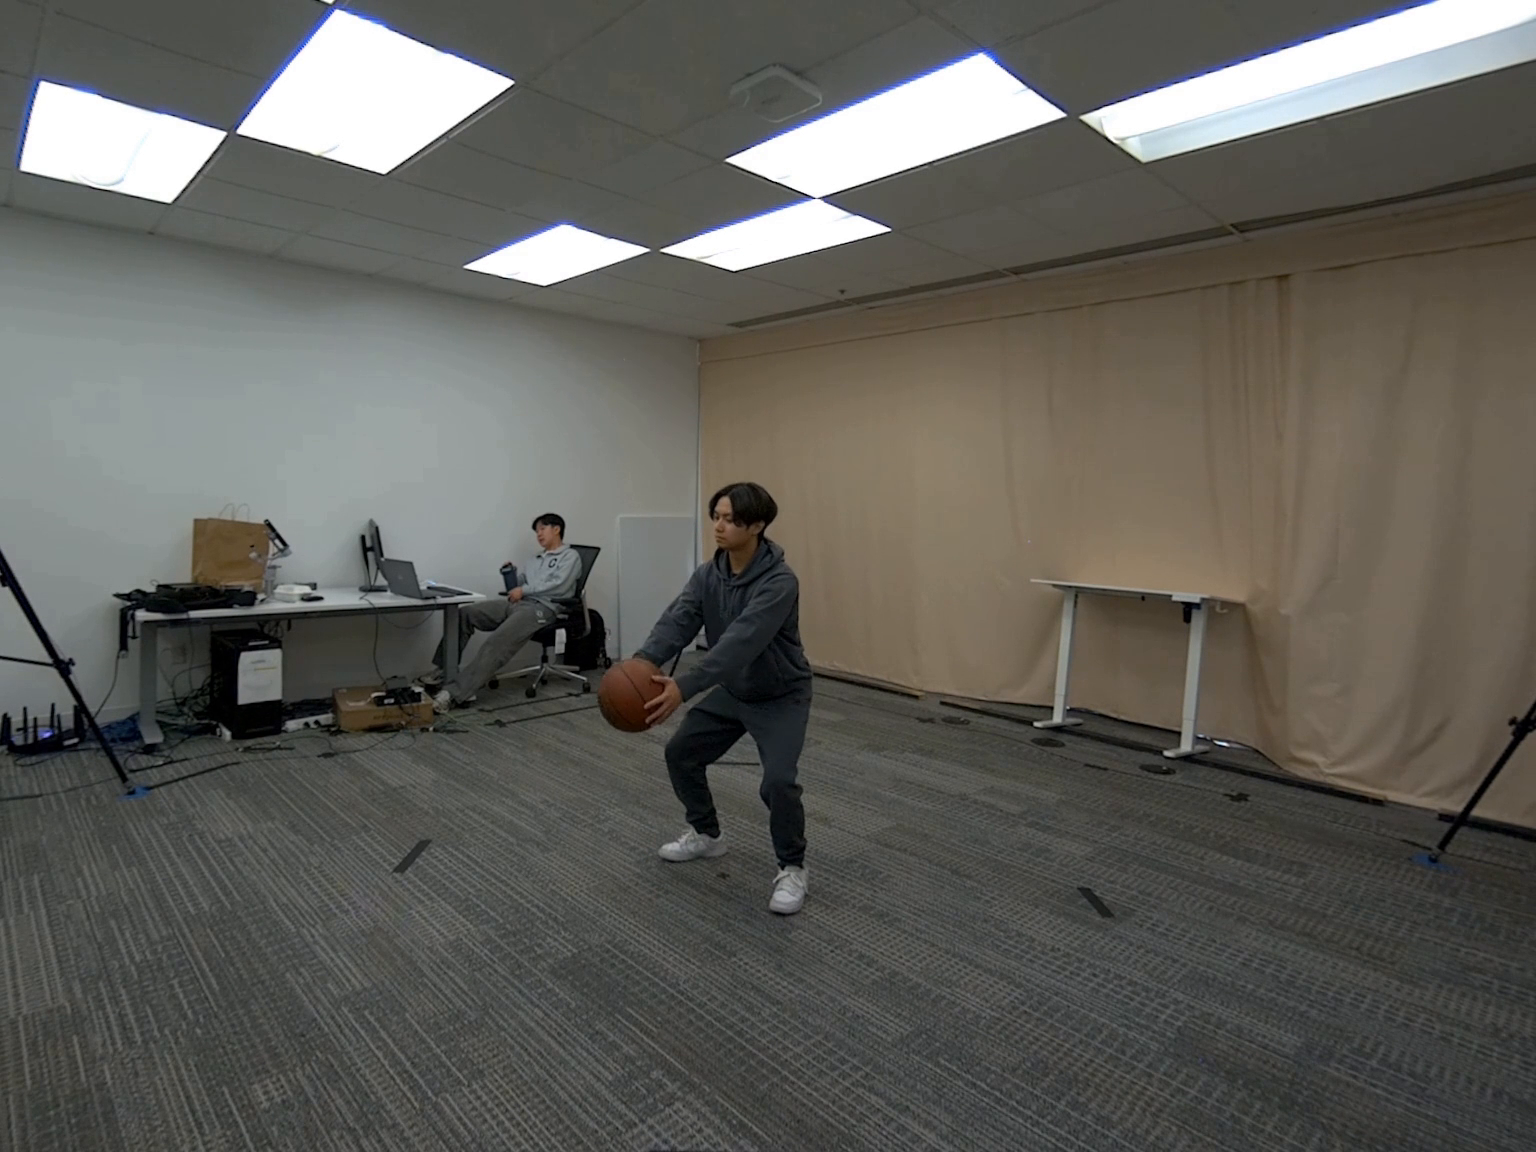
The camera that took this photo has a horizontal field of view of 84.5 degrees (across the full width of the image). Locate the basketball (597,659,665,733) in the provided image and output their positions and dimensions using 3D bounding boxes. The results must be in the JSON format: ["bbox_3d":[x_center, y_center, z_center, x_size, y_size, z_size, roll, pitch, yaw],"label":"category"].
[{"bbox_3d":[-0.443,0.394,2.747,0.236,0.235,0.237,1,4,-1],"label":"basketball"}]
